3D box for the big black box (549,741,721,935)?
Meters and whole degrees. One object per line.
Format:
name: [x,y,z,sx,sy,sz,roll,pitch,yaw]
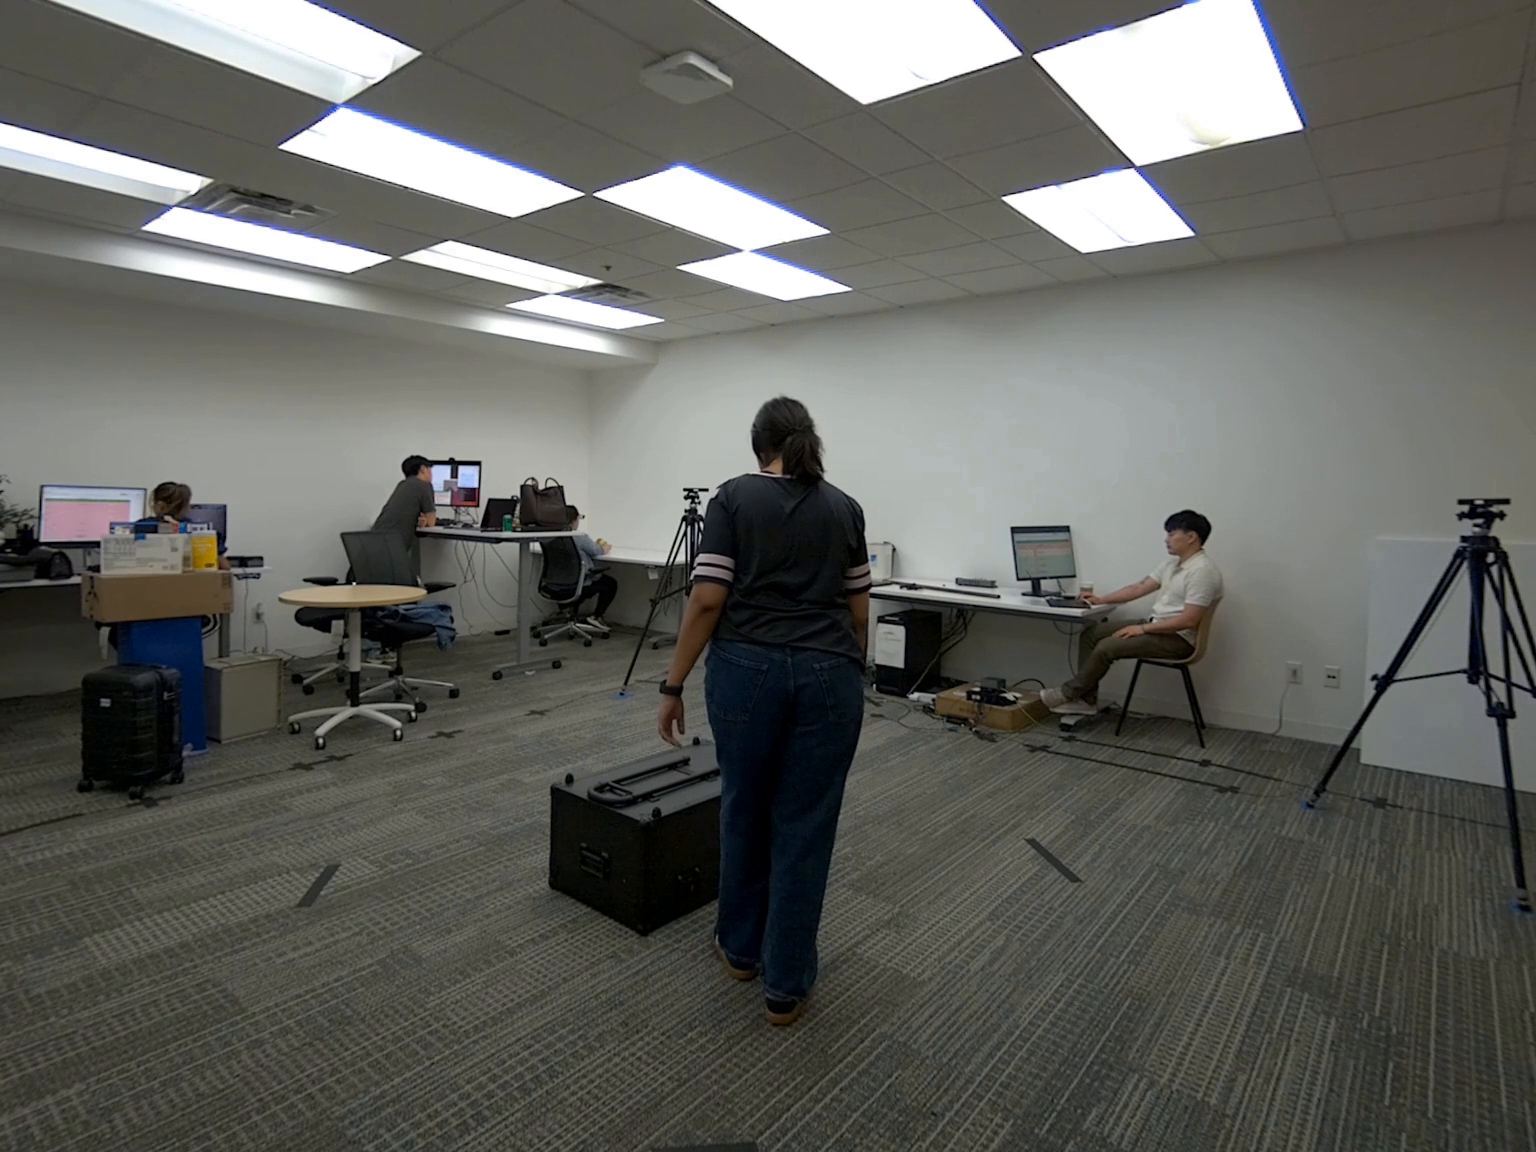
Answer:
big black box: [-0.320,0.885,3.094,0.541,0.384,0.843,4,6,40]
